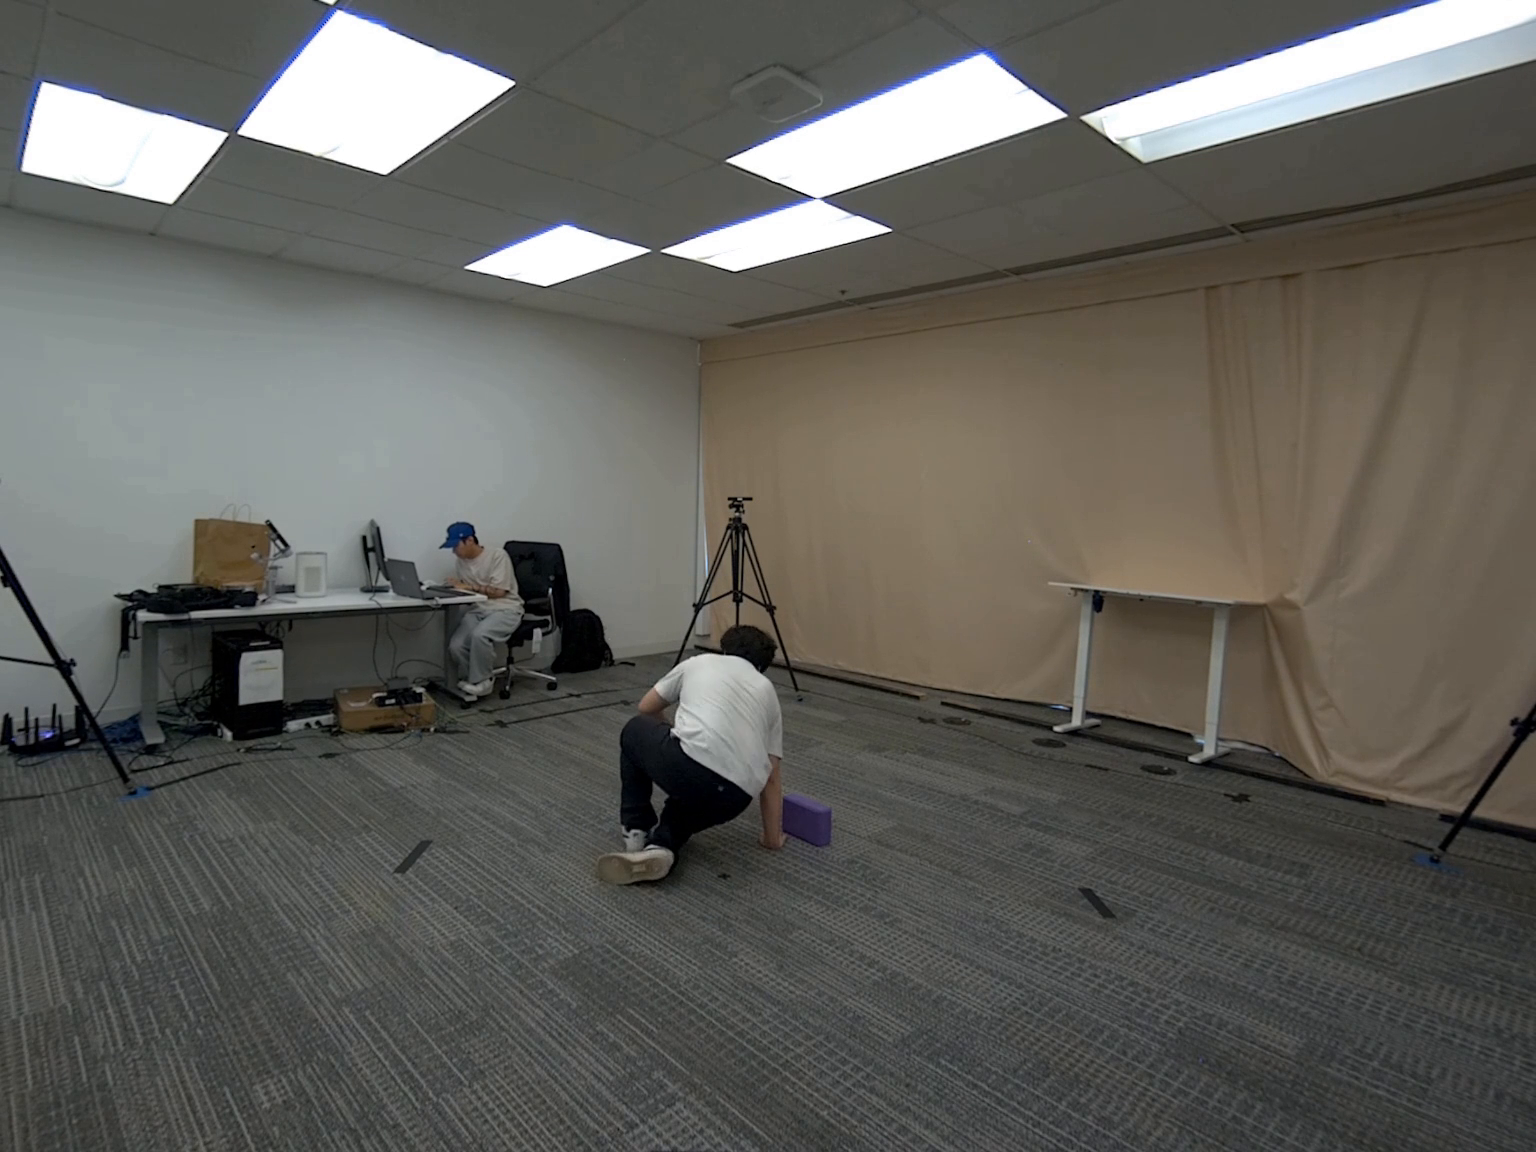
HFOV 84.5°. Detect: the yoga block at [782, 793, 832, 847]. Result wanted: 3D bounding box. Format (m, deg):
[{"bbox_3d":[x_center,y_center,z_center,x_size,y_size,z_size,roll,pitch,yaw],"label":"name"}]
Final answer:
[{"bbox_3d":[0.147,1.005,3.488,0.075,0.149,0.235,0,4,-39],"label":"yoga block"}]
